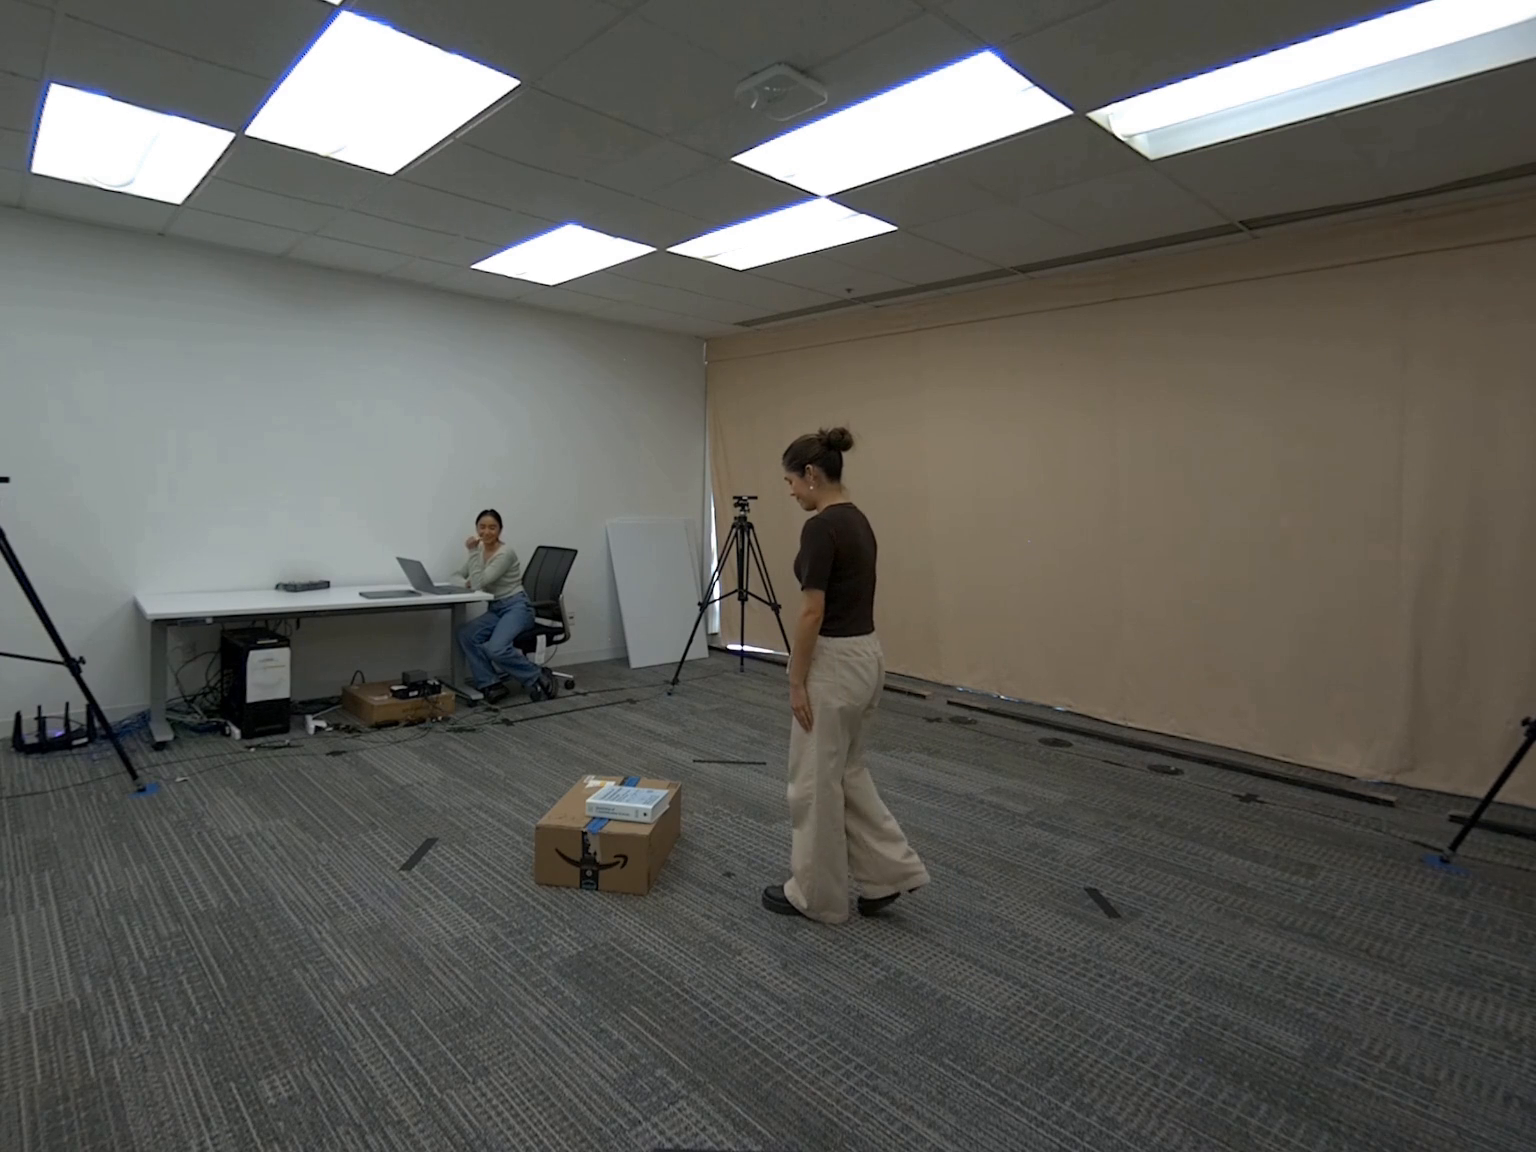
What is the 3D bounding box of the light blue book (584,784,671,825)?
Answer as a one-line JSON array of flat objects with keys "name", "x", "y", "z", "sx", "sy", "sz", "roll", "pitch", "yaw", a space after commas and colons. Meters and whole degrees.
[{"name": "light blue book", "x": -0.530, "y": 0.849, "z": 3.148, "sx": 0.264, "sy": 0.059, "sz": 0.189, "roll": 1, "pitch": 4, "yaw": 15}]
